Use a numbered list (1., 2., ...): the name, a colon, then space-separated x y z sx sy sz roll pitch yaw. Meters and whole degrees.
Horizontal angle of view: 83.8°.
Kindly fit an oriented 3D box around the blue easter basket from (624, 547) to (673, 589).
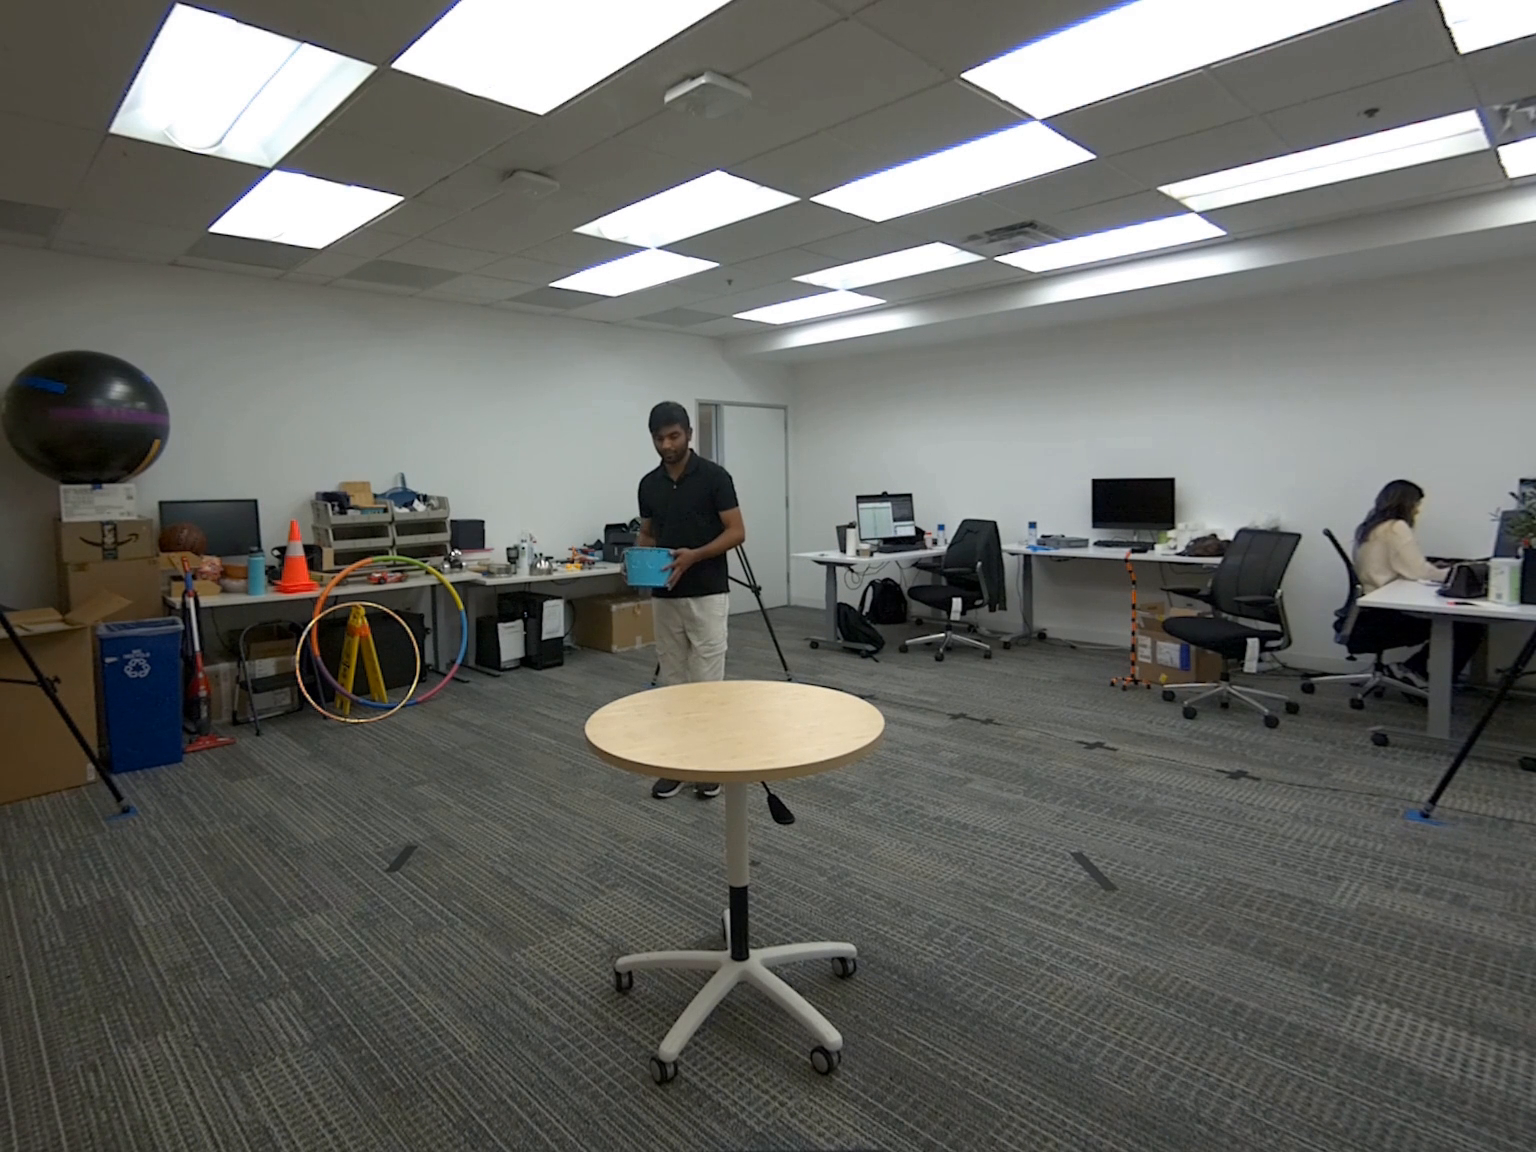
1. blue easter basket: -0.489 -0.032 3.647 0.243 0.156 0.243 1 -3 -2
